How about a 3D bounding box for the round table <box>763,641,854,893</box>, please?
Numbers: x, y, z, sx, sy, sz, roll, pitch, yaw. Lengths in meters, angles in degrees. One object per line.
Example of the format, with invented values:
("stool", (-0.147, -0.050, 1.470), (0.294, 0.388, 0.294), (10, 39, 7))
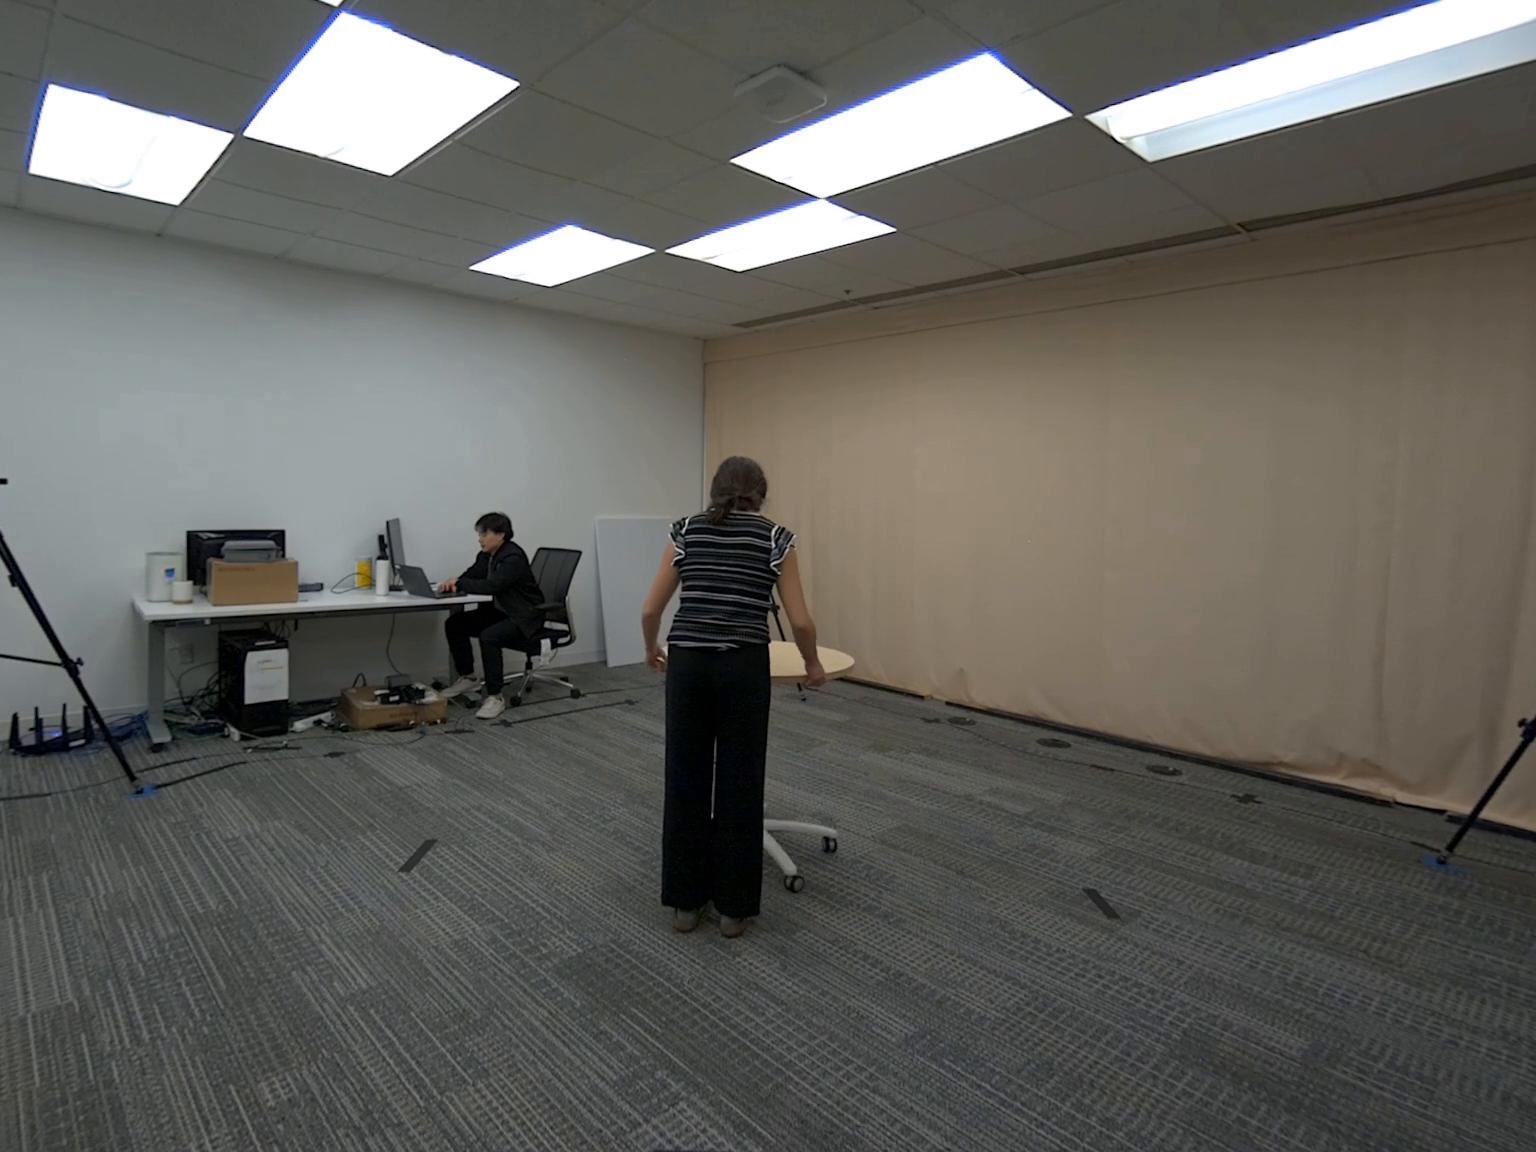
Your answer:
("round table", (-0.065, 0.702, 3.255), (0.784, 0.785, 0.787), (2, 4, -1))
